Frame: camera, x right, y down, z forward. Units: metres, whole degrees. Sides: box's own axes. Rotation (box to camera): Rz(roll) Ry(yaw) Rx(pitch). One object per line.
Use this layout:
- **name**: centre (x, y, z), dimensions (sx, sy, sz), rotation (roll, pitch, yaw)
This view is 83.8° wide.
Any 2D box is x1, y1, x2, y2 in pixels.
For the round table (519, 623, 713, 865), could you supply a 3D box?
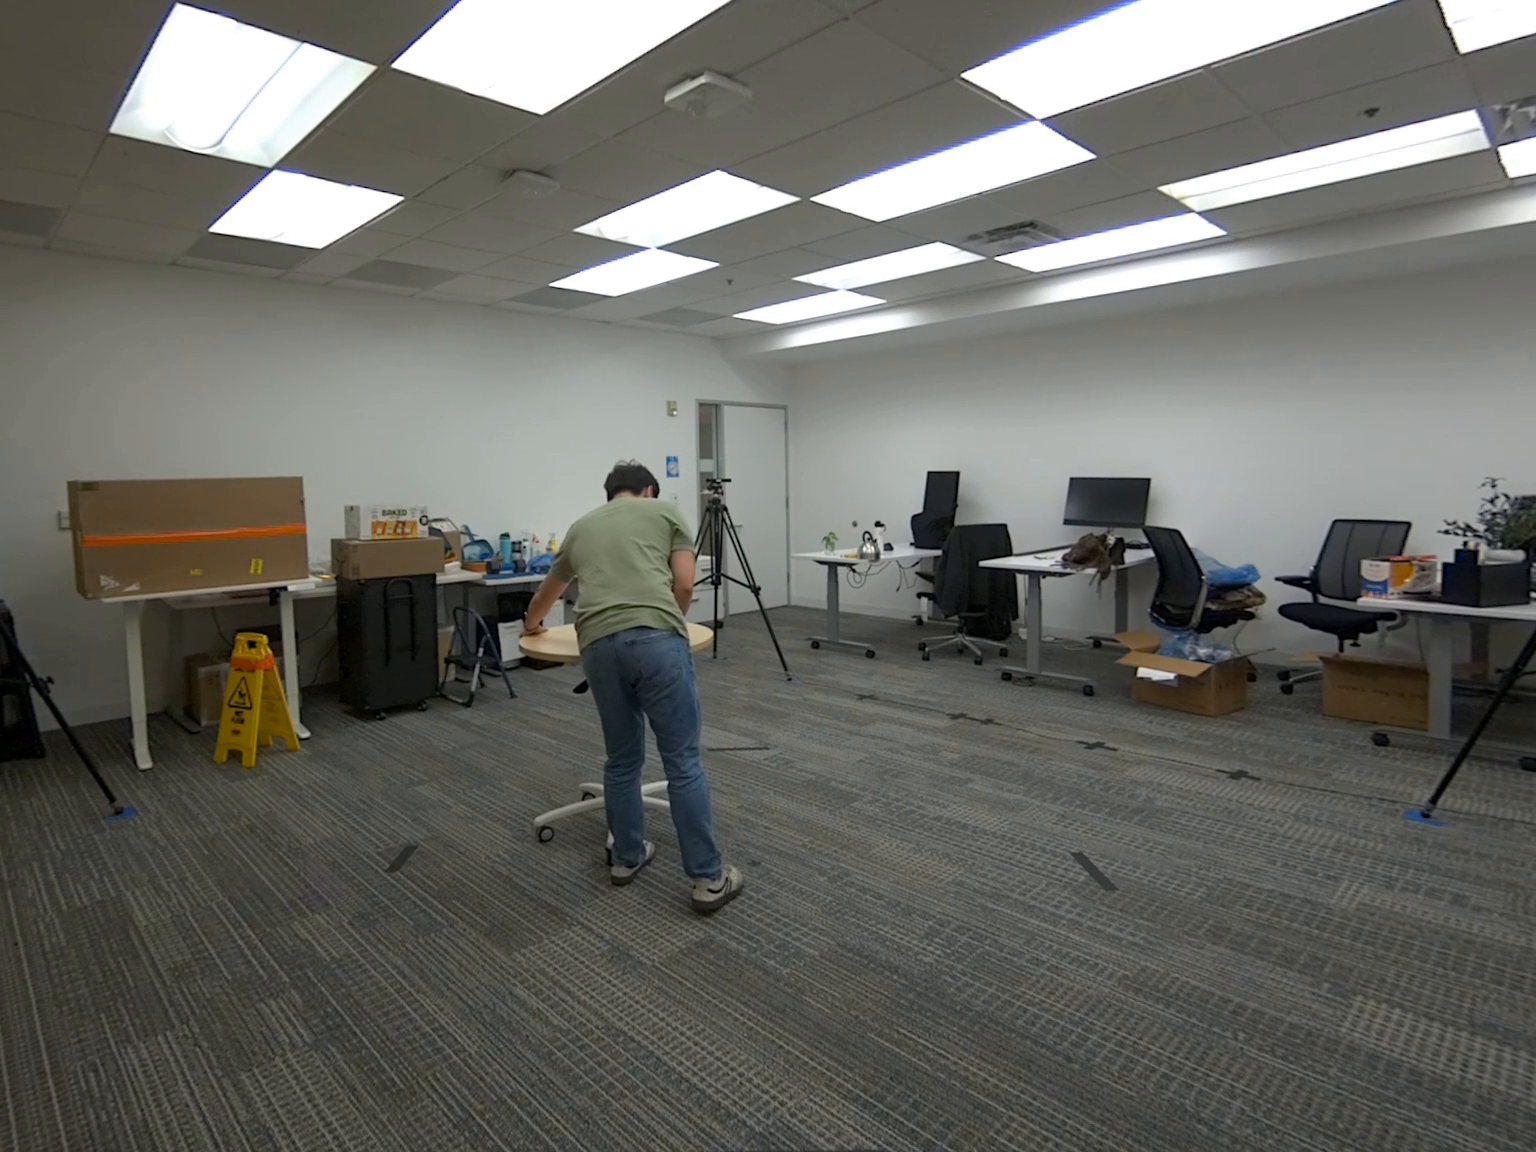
- **round table**: centre (-0.583, 0.630, 3.418), dimensions (0.763, 0.791, 0.767), rotation (-1, 4, -2)
